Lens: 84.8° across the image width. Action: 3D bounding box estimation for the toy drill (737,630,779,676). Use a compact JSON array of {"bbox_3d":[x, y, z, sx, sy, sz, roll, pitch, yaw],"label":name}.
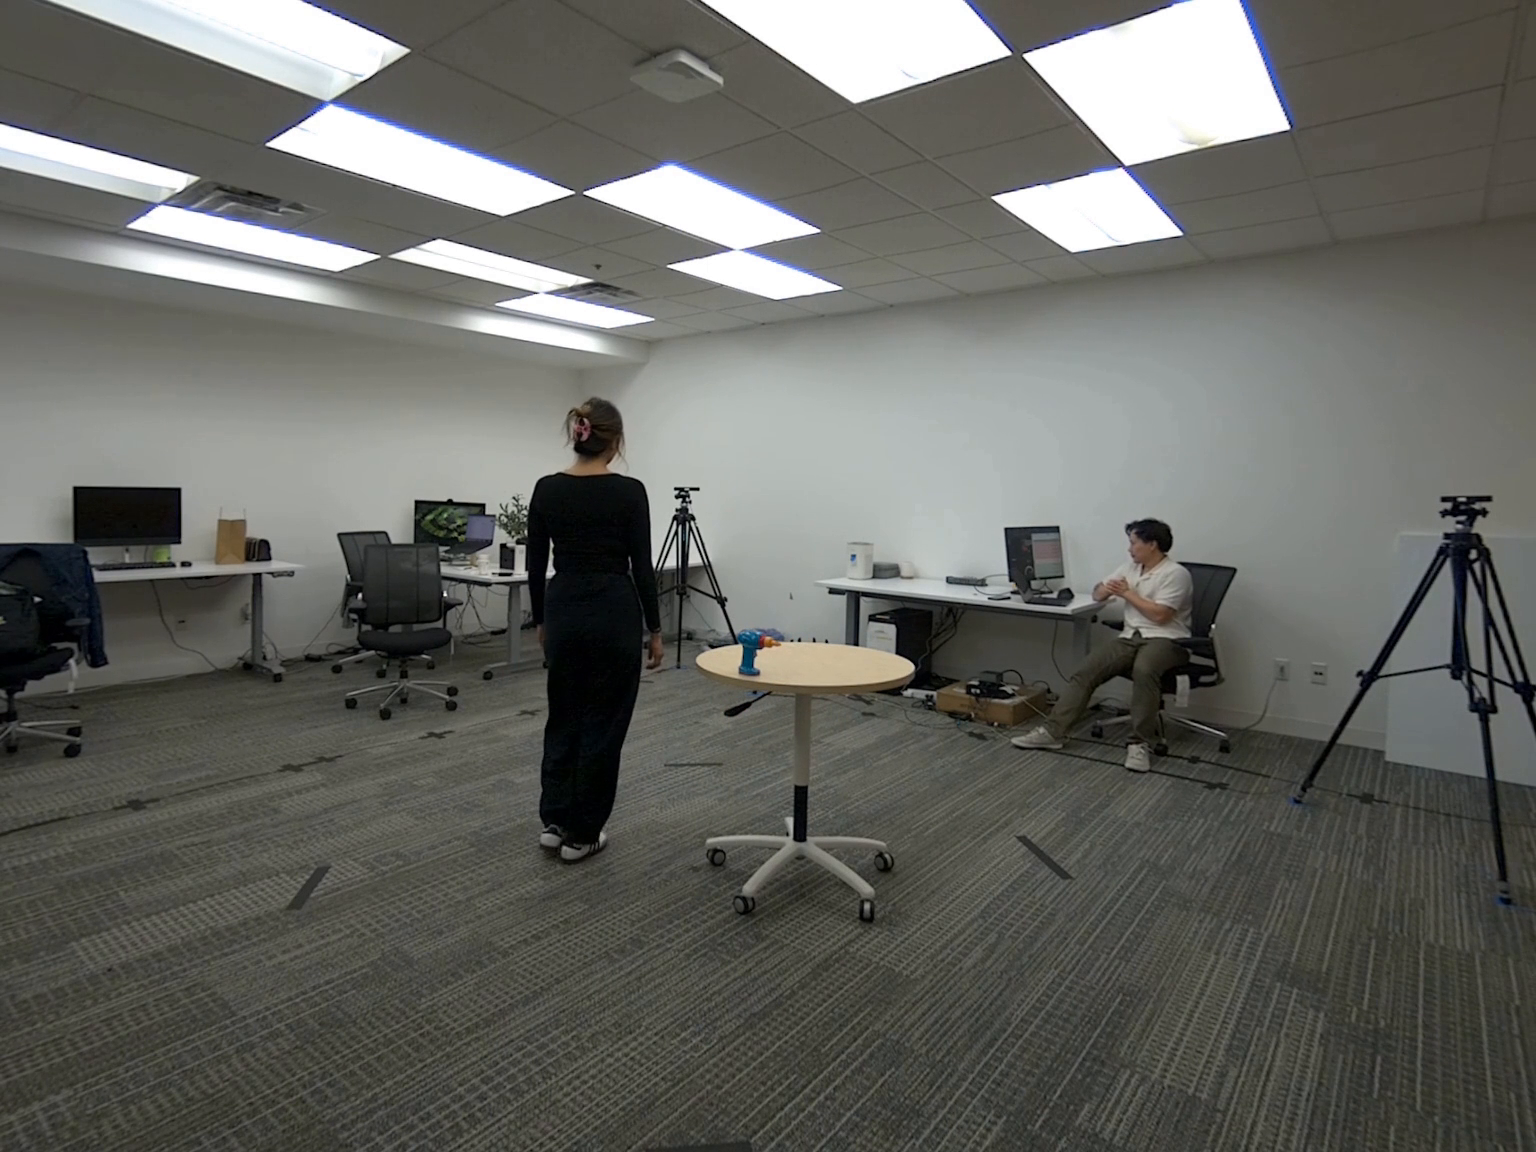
[{"bbox_3d":[-0.039,0.248,2.757,0.175,0.145,0.059,3,4,35],"label":"toy drill"}]
